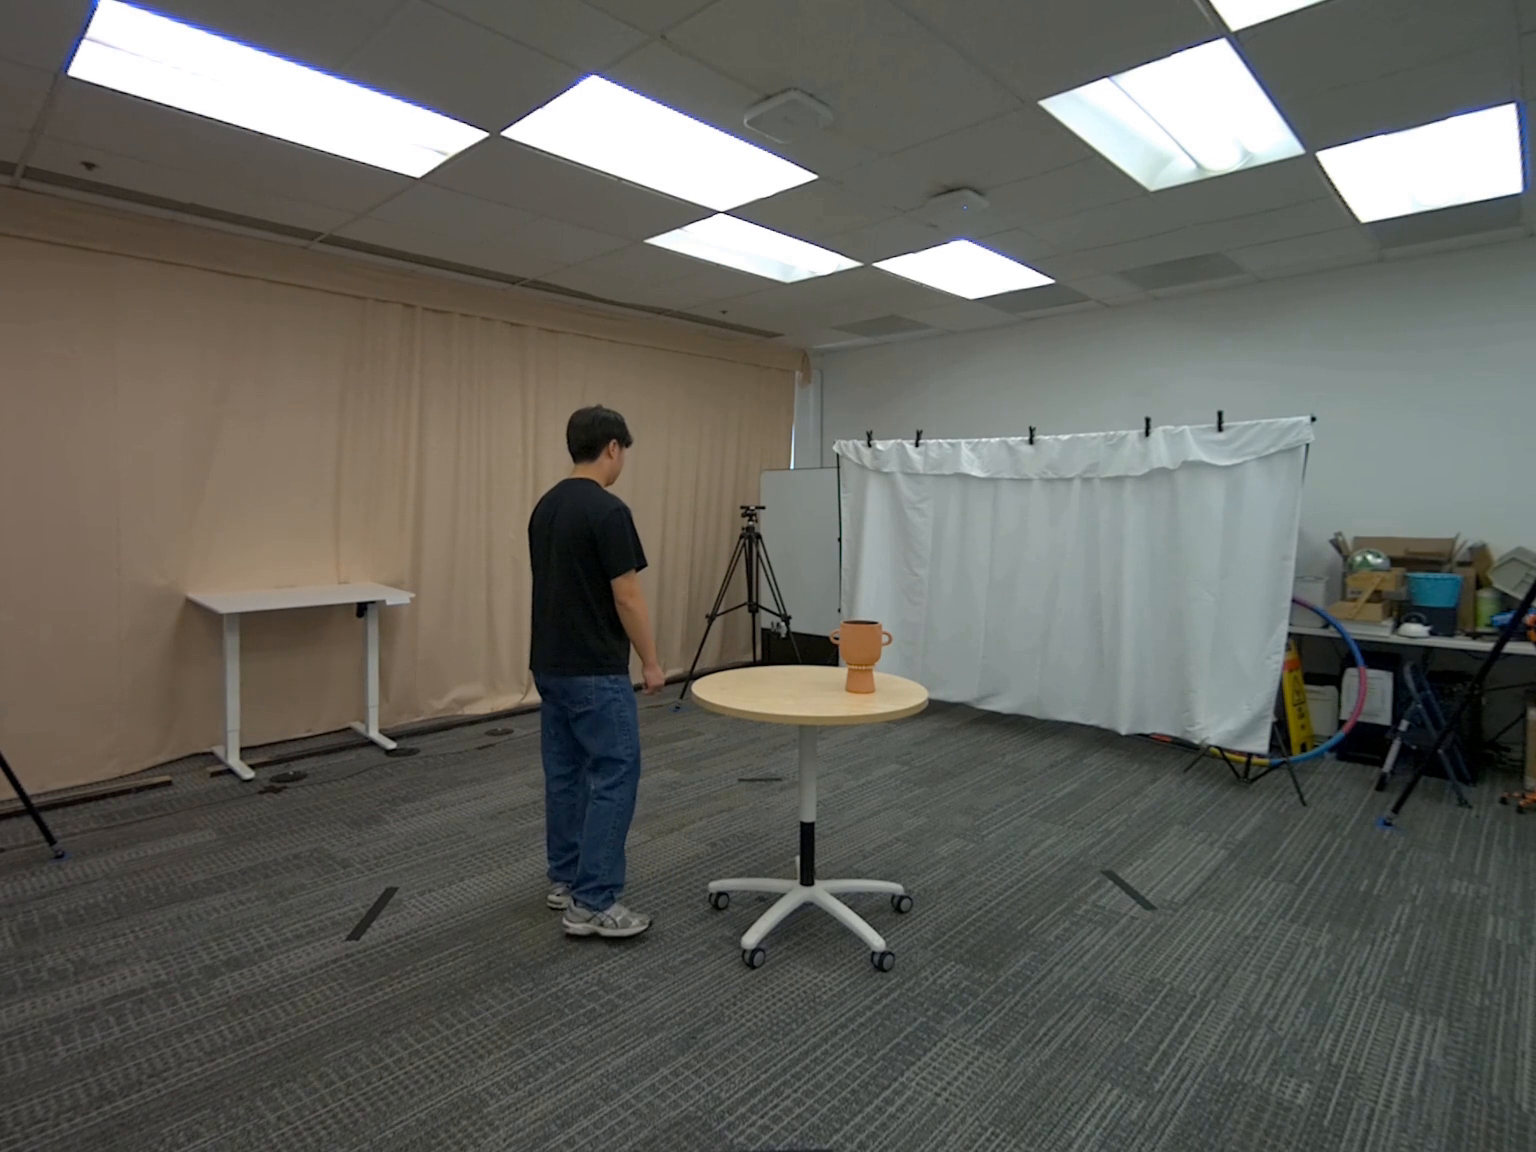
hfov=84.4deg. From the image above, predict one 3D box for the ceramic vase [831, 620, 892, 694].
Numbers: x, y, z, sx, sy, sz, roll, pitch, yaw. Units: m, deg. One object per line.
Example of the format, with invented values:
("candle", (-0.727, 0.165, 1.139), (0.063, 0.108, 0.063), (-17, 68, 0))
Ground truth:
("ceramic vase", (0.307, 0.262, 2.708), (0.164, 0.219, 0.130), (3, 2, 44))
